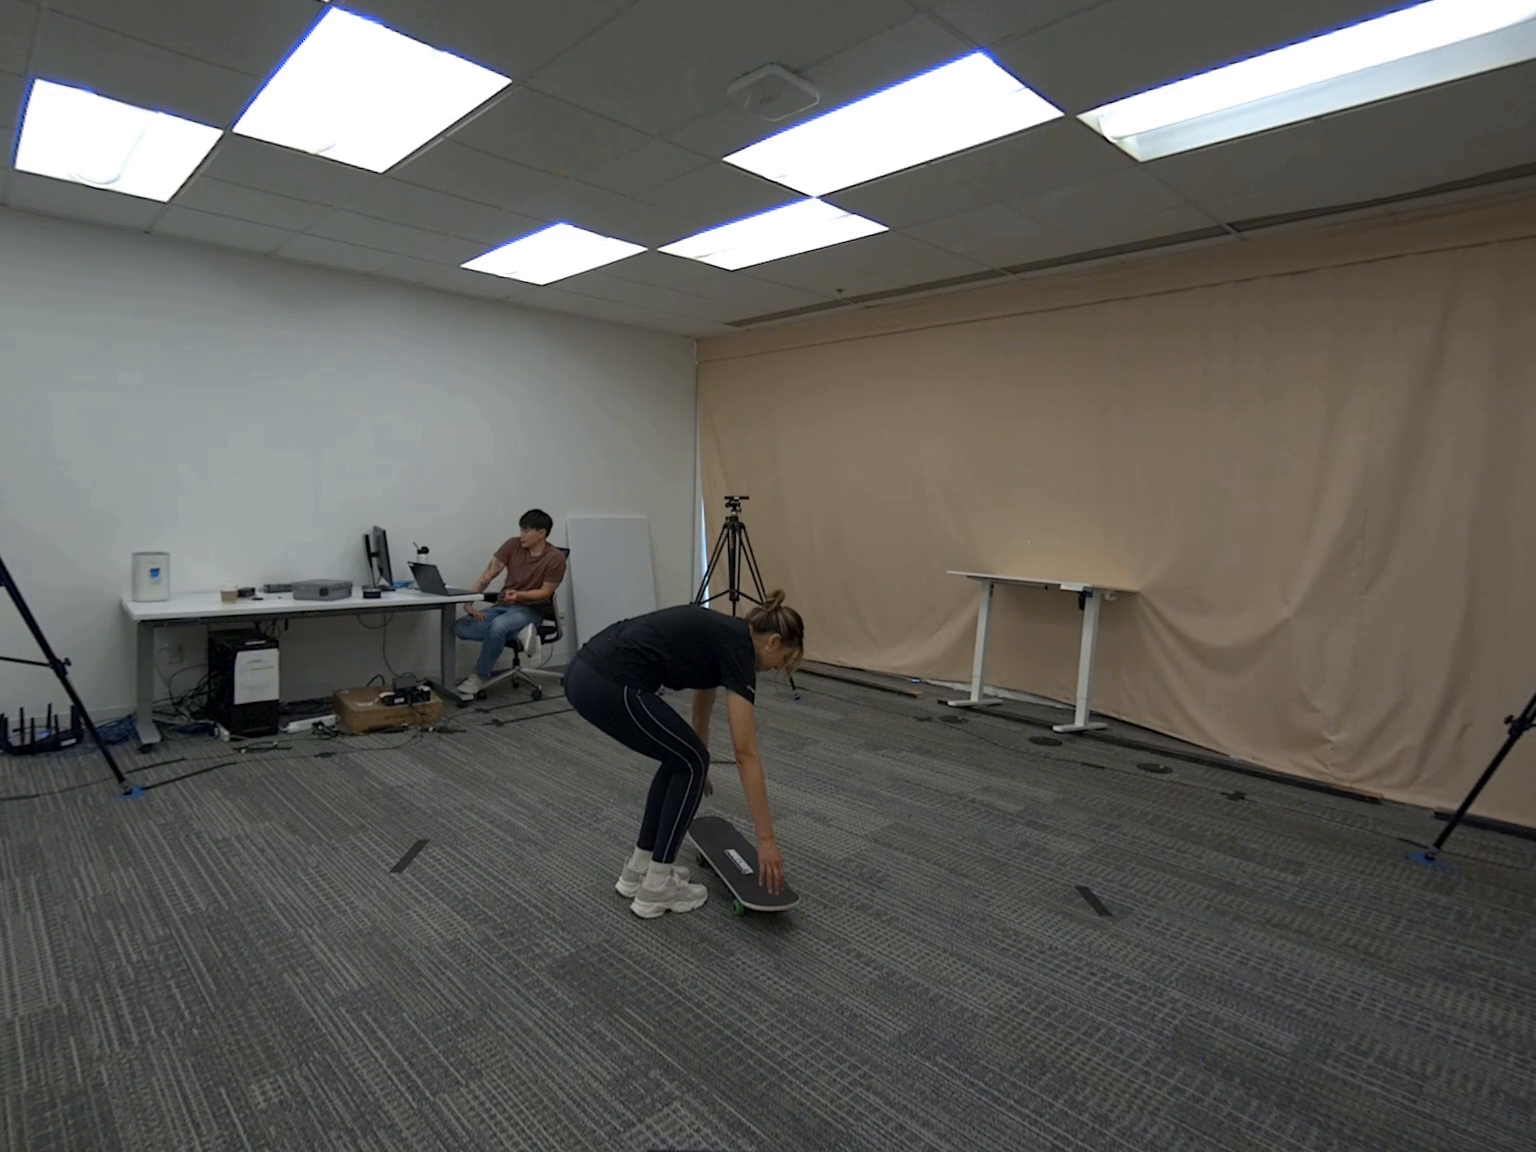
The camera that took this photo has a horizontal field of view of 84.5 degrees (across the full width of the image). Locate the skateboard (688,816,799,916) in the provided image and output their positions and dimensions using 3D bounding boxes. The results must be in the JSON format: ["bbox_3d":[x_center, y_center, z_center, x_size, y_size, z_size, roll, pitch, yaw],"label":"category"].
[{"bbox_3d":[-0.113,1.052,3.015,0.190,0.110,0.800,-1,6,-21],"label":"skateboard"}]
